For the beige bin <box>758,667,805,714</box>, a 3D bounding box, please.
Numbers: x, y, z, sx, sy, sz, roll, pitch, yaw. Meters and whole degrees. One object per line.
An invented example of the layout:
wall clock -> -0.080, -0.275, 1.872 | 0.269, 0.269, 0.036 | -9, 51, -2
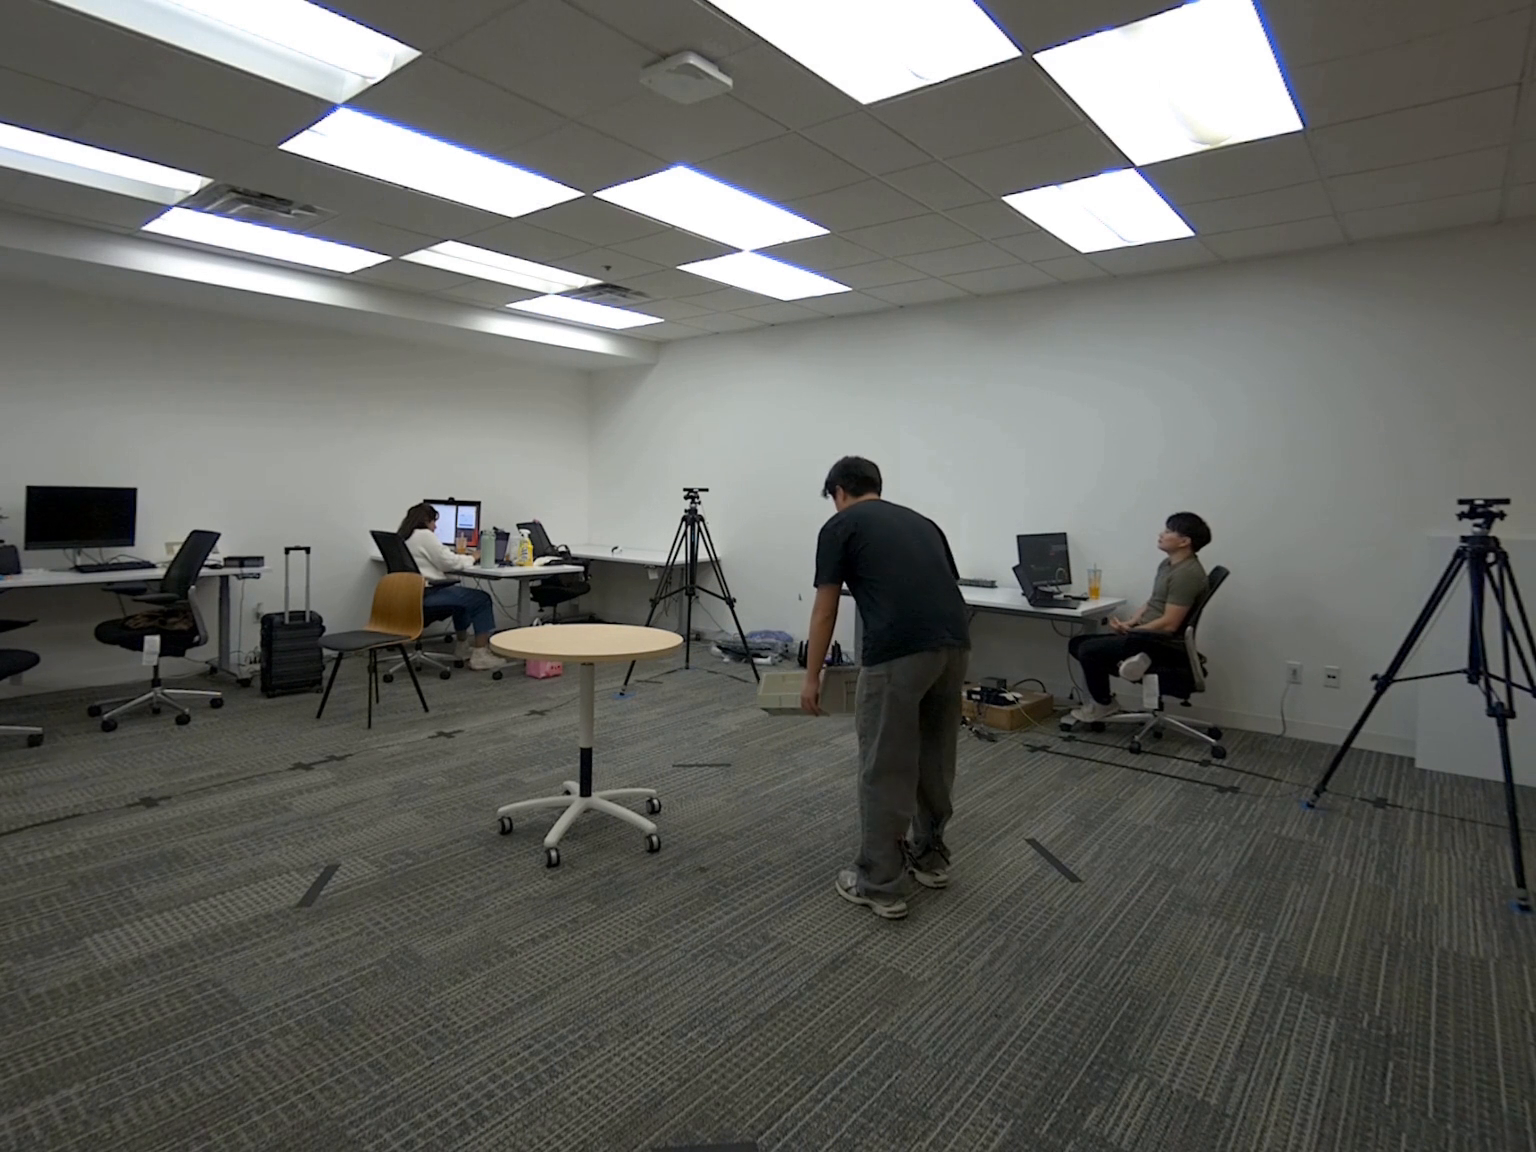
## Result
beige bin -> 0.215, 0.454, 3.338 | 0.366, 0.191, 0.431 | 4, -10, -33
